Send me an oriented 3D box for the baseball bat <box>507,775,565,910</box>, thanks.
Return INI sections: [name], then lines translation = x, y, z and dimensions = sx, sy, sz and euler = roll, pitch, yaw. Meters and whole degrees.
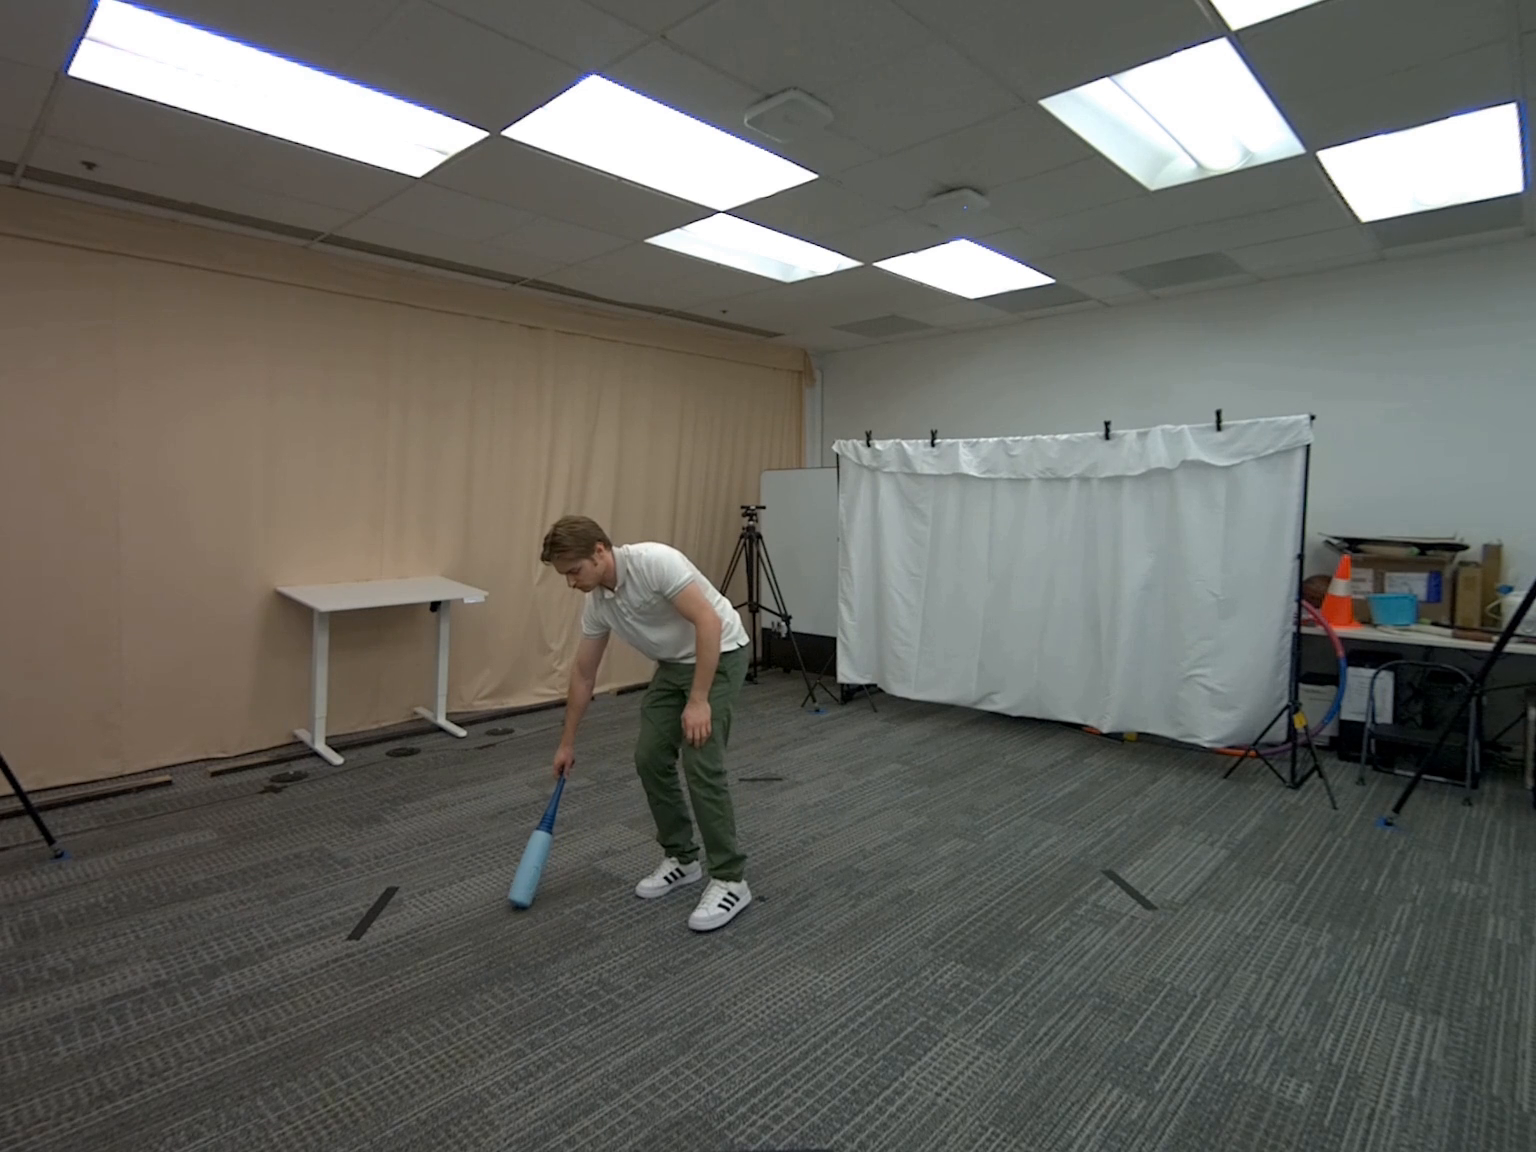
[baseball bat]
translation = -0.802, 0.918, 3.054
dimensions = 0.090, 0.548, 0.087
euler = 10, -32, 4
